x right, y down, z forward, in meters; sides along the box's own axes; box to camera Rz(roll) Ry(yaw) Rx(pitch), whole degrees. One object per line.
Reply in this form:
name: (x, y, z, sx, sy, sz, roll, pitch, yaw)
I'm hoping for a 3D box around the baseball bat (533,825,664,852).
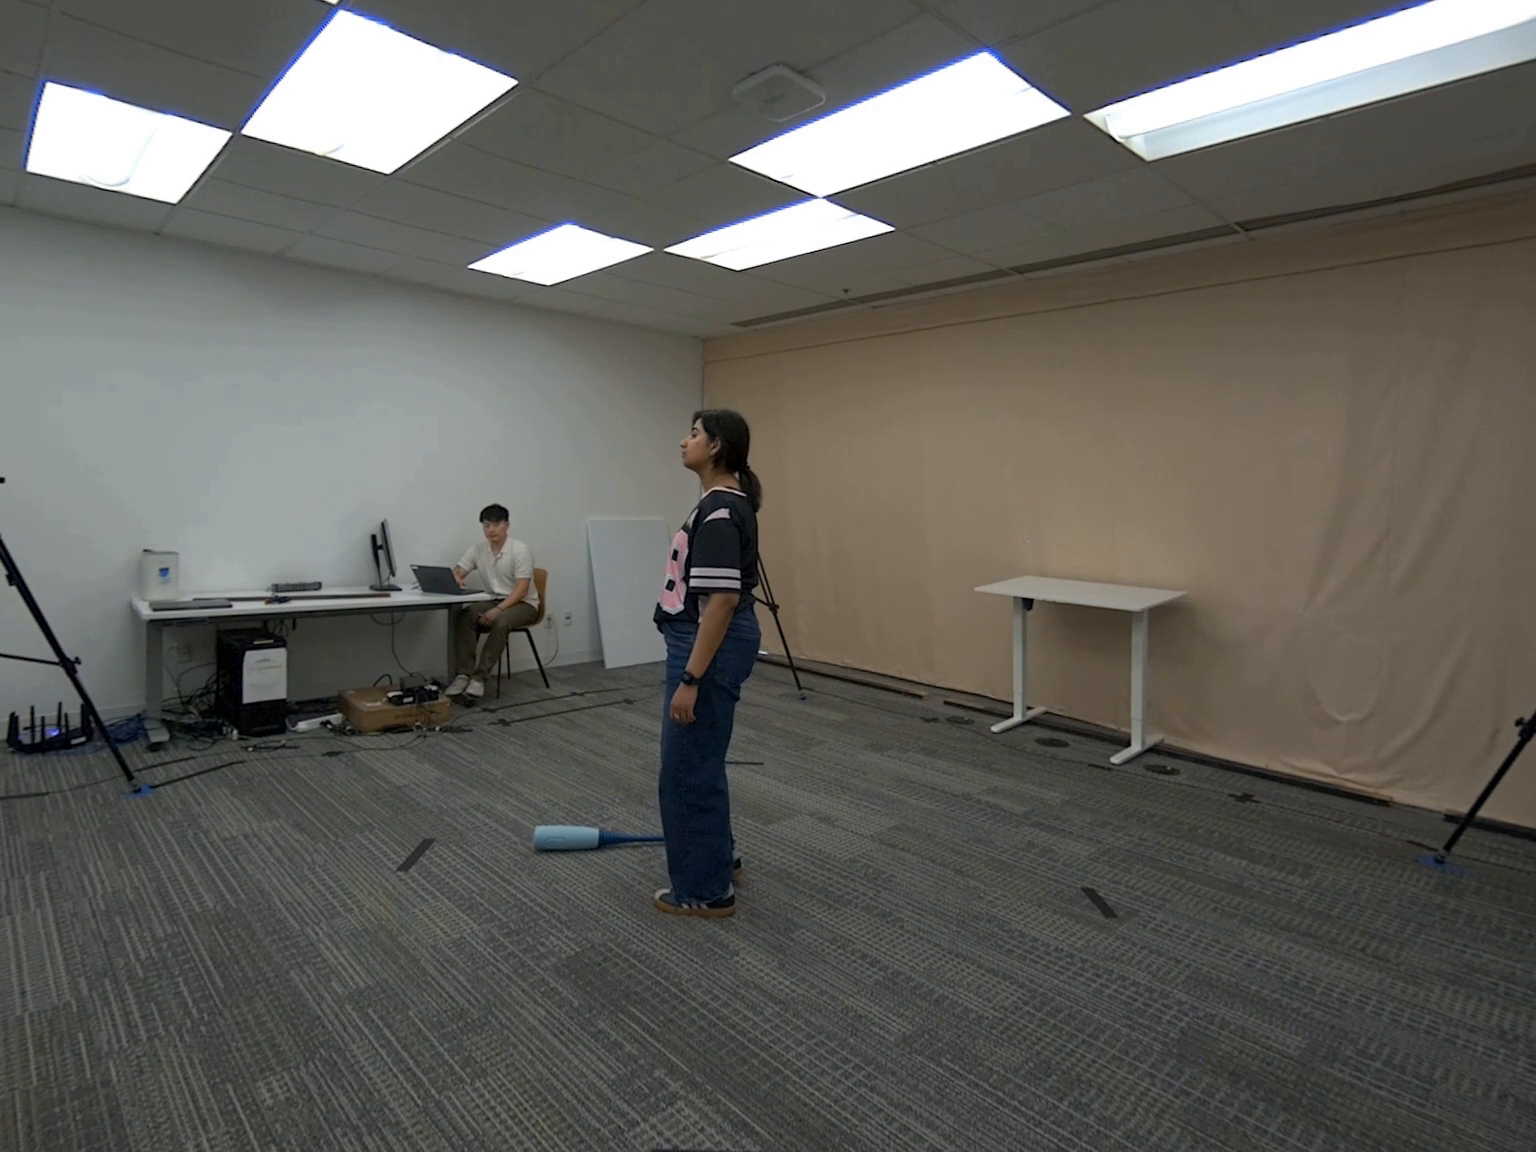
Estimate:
baseball bat: (-0.658, 1.039, 3.321, 0.539, 0.089, 0.090, 4, 4, -9)
